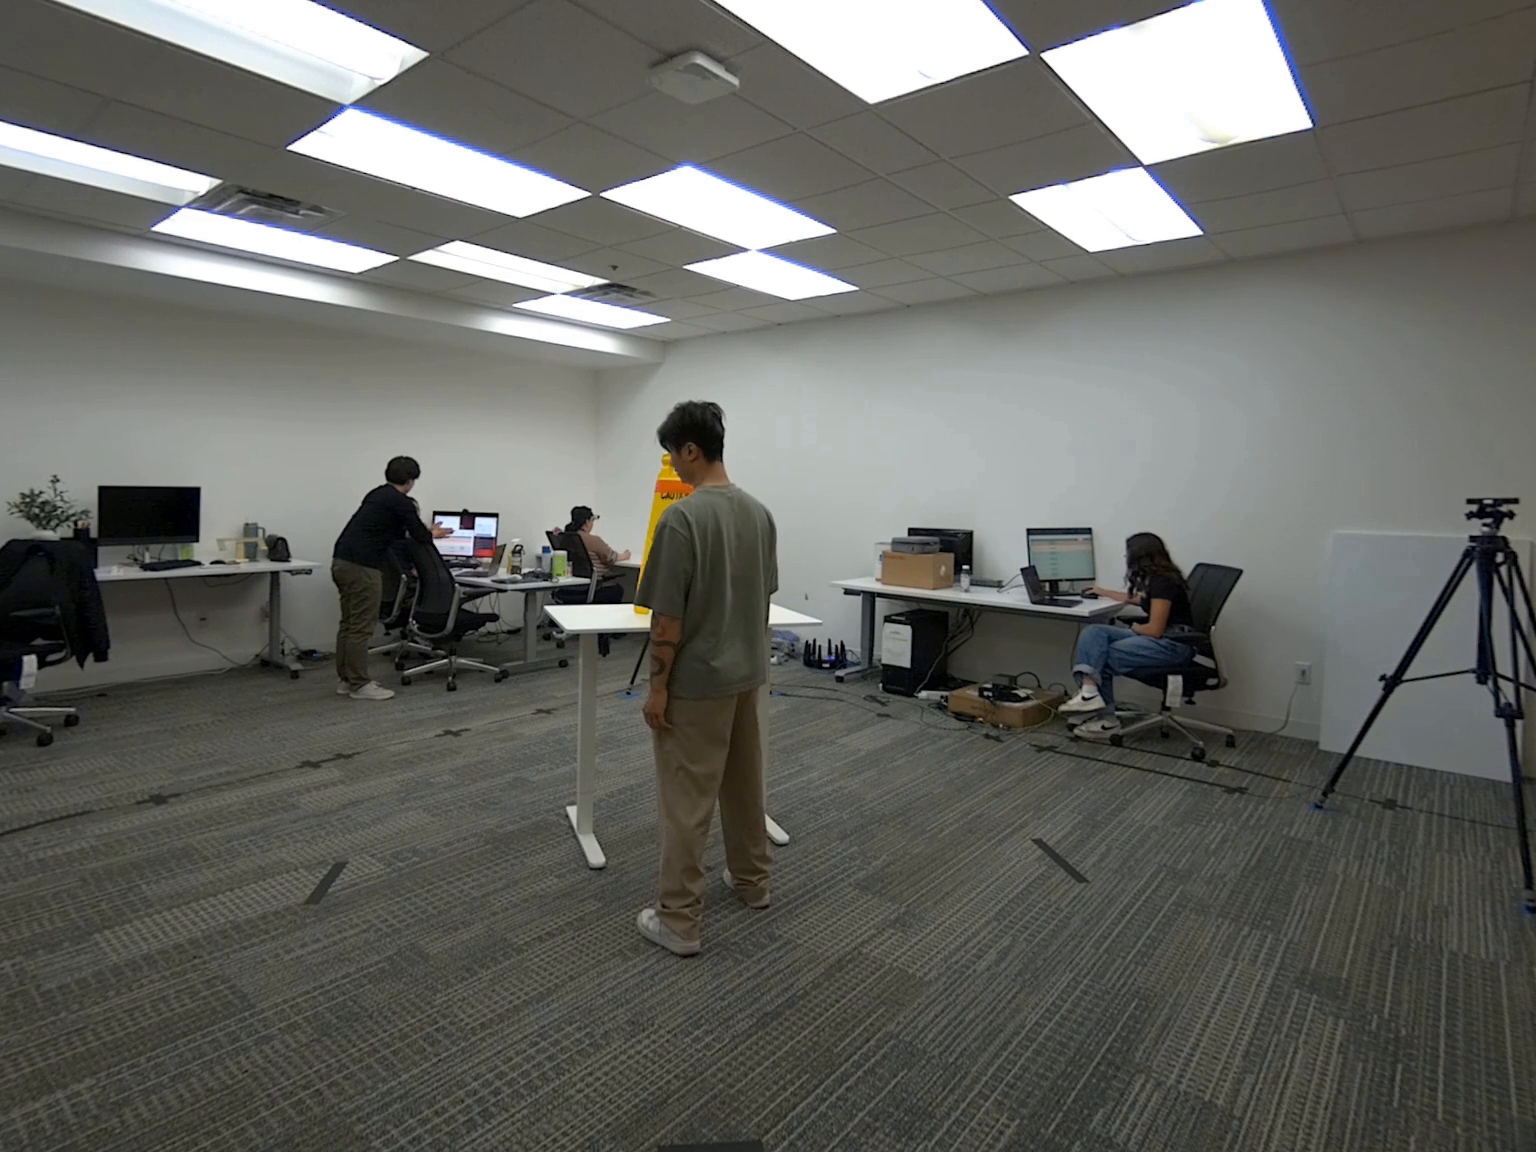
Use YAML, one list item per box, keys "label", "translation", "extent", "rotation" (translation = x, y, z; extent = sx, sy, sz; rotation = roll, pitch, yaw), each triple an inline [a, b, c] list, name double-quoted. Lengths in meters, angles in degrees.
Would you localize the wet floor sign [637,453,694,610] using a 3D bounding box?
- label: "wet floor sign"
  translation: [-0.361, -0.176, 3.438]
  extent: [0.291, 0.644, 0.281]
  rotation: [4, 3, 32]
